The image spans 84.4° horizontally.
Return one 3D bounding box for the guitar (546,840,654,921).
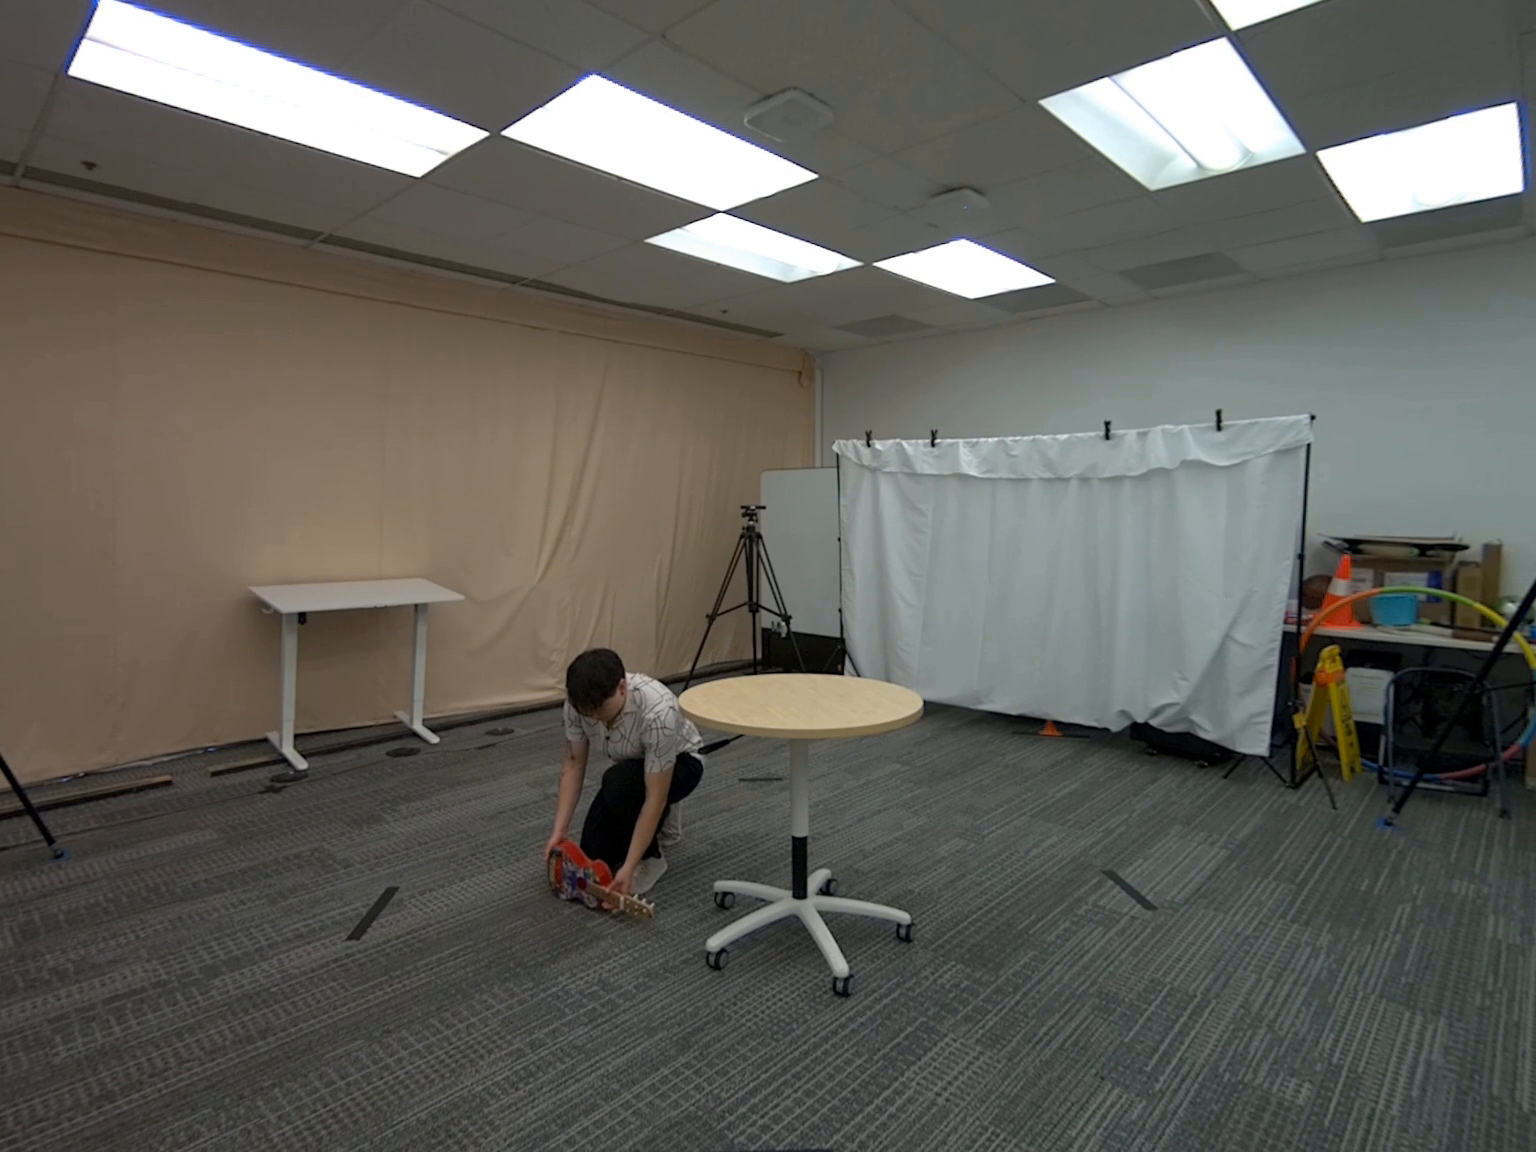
[{"bbox_3d":[-0.580,1.099,2.905,0.515,0.192,0.069,18,15,35],"label":"guitar"}]
